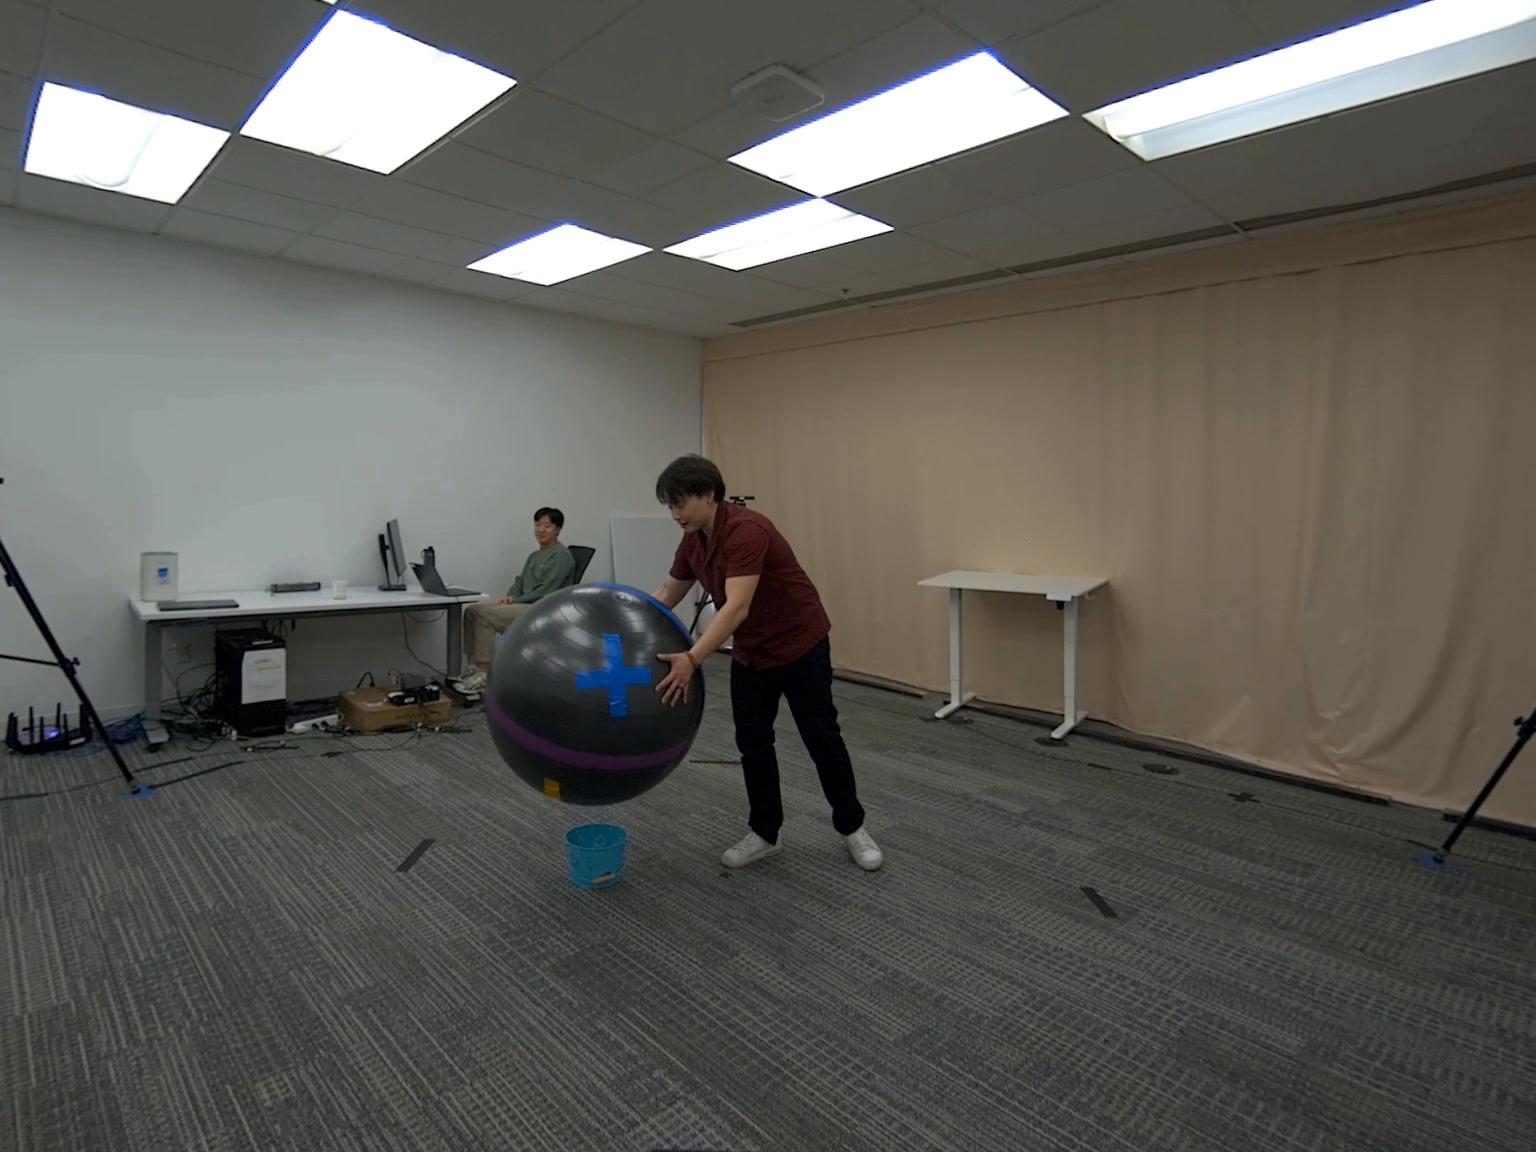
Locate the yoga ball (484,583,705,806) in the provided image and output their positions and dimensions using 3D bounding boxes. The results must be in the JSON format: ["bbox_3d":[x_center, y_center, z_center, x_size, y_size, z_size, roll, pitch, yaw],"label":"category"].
[{"bbox_3d":[-0.597,0.410,2.920,0.757,0.756,0.761,1,4,-1],"label":"yoga ball"}]
